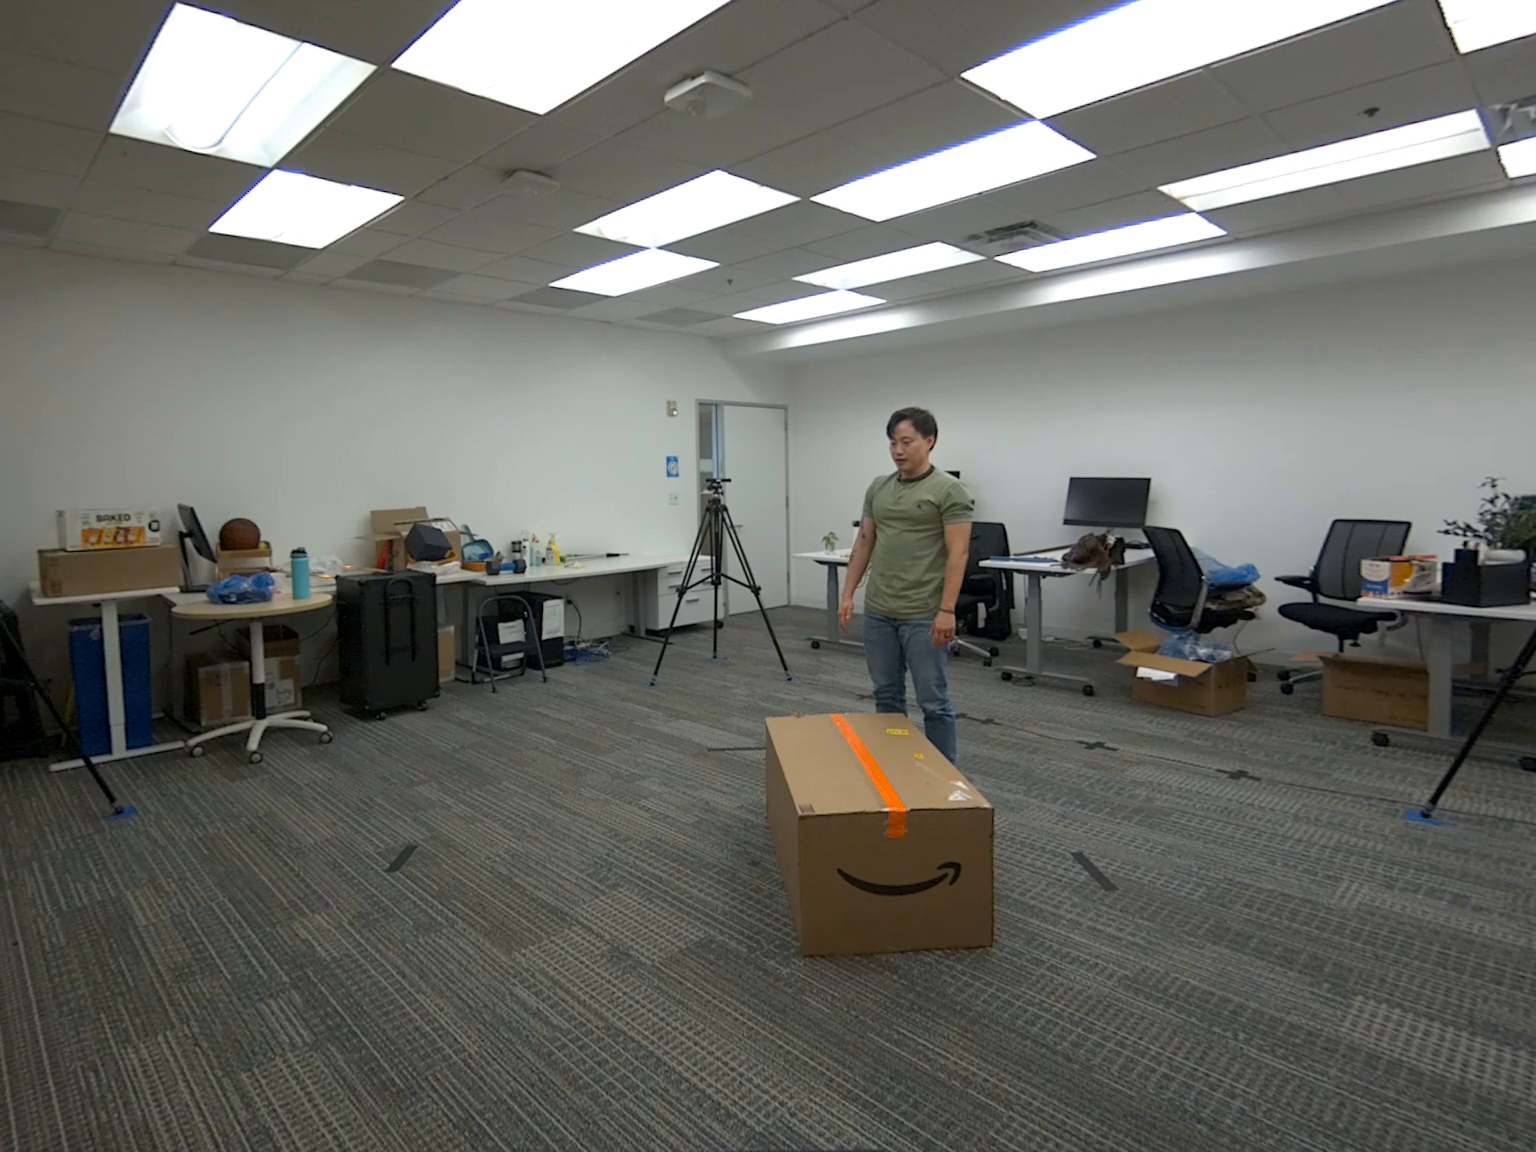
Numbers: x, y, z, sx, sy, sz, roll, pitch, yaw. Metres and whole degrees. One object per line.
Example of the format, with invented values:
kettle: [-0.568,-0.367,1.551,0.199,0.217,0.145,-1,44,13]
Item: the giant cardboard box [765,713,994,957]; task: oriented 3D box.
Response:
giant cardboard box: [0.326,0.834,2.998,0.575,0.424,1.034,-1,6,-5]
